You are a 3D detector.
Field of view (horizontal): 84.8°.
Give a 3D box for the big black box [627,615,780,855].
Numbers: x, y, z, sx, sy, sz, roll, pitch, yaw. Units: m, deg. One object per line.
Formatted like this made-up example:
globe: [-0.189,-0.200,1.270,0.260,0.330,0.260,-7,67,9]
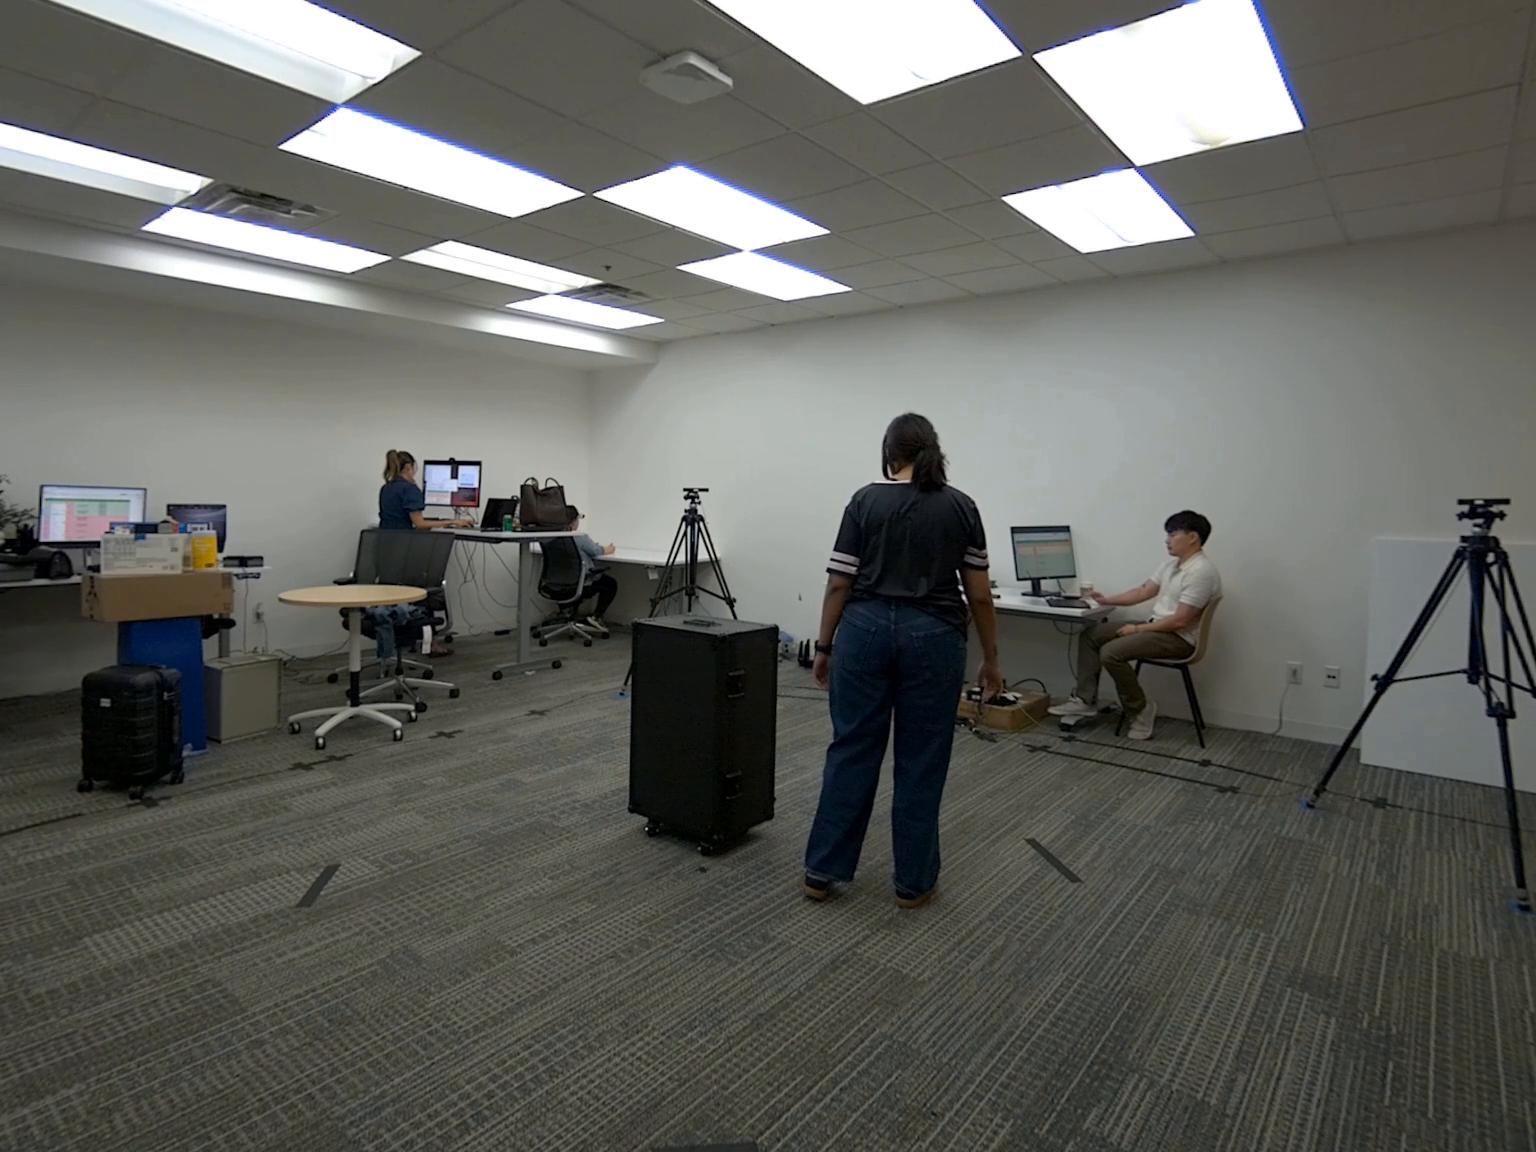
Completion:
big black box: [-0.274,0.611,3.444,0.538,0.860,0.384,3,2,39]
